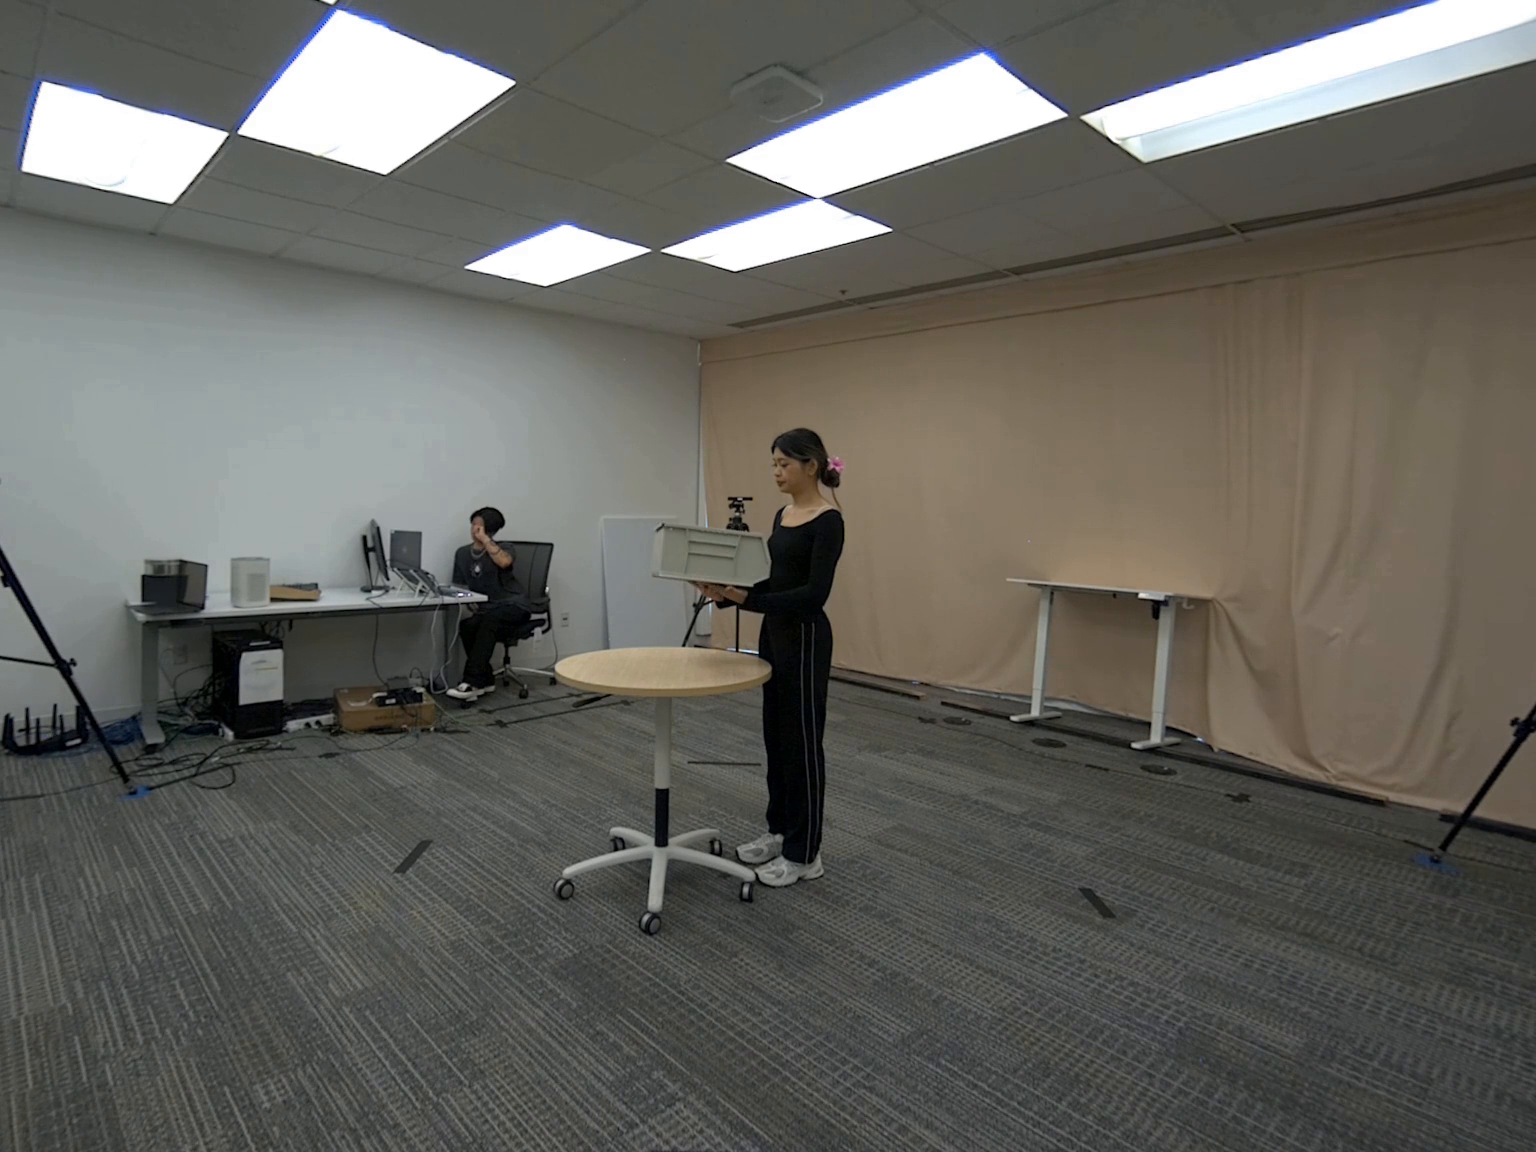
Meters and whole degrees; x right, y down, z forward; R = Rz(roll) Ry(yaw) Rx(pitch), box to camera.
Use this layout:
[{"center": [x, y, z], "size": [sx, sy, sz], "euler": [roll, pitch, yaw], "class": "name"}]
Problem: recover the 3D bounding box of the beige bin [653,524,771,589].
[{"center": [-0.218, -0.062, 2.969], "size": [0.374, 0.189, 0.425], "euler": [6, -2, -10], "class": "beige bin"}]
